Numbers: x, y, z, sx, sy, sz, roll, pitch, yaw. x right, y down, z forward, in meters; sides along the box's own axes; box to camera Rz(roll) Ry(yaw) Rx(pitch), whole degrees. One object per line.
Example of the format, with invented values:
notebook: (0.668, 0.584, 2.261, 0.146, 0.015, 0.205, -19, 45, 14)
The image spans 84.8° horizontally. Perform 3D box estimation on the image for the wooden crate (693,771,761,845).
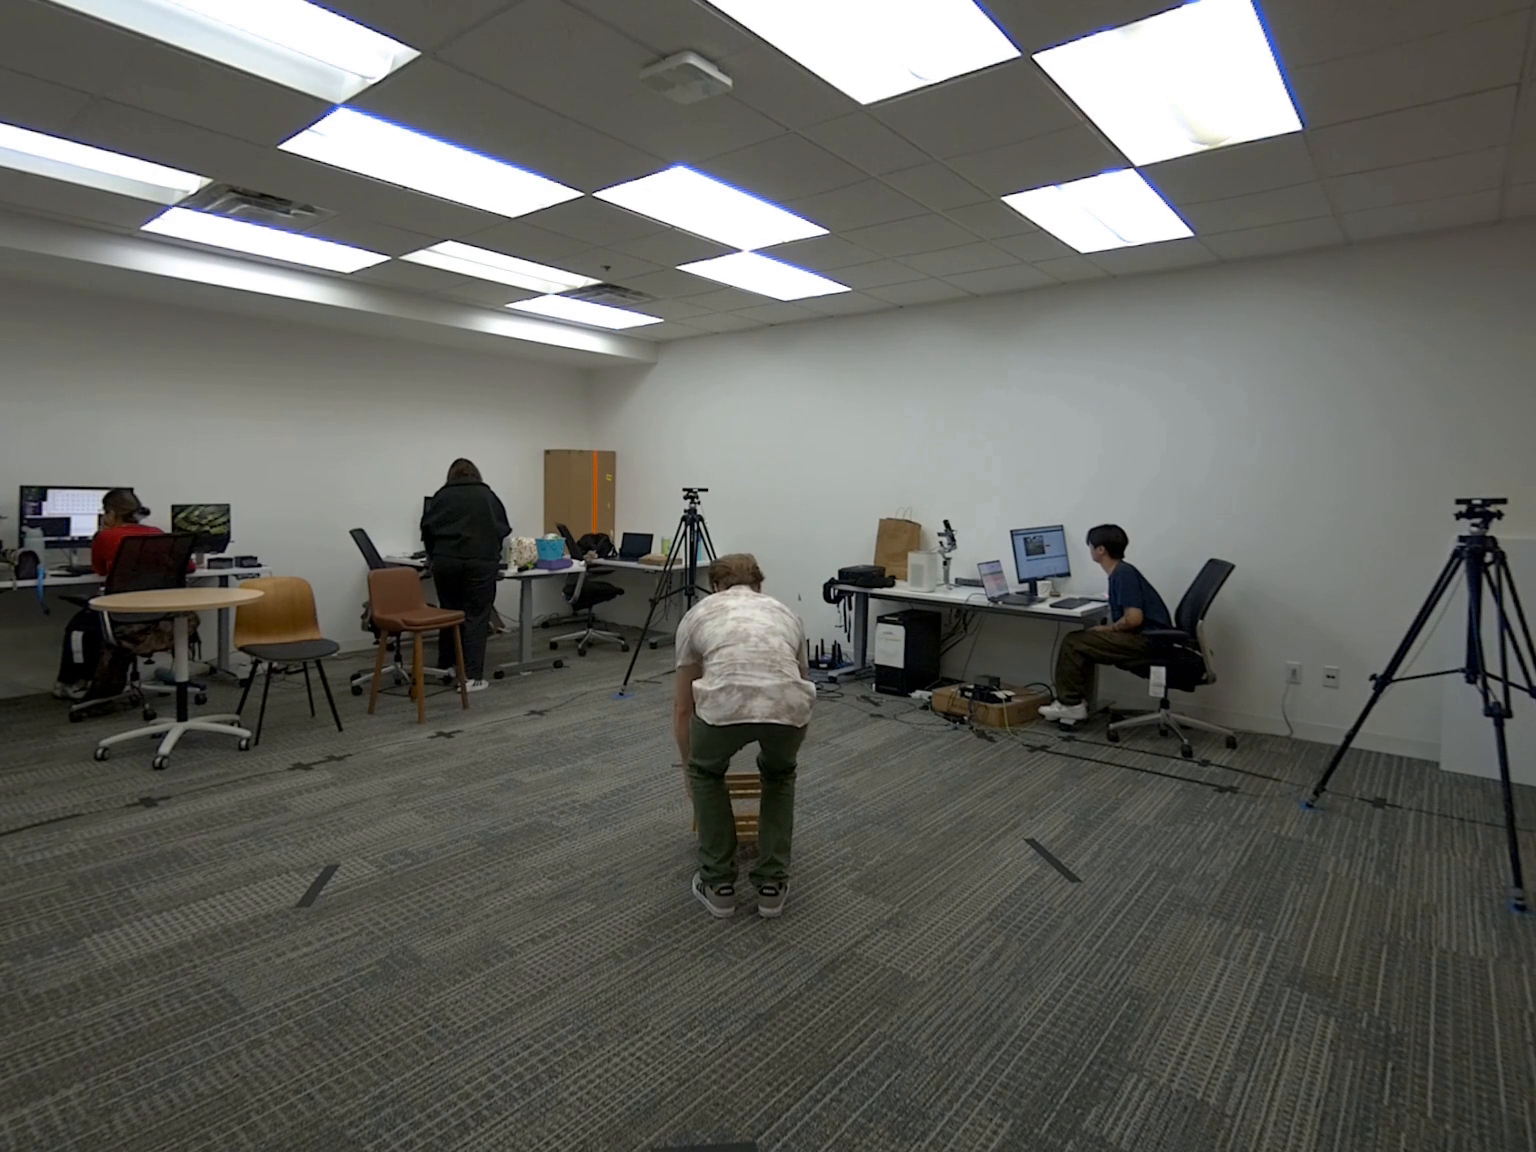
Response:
wooden crate: (-0.141, 0.851, 3.299, 0.321, 0.274, 0.304, -1, -1, -10)
